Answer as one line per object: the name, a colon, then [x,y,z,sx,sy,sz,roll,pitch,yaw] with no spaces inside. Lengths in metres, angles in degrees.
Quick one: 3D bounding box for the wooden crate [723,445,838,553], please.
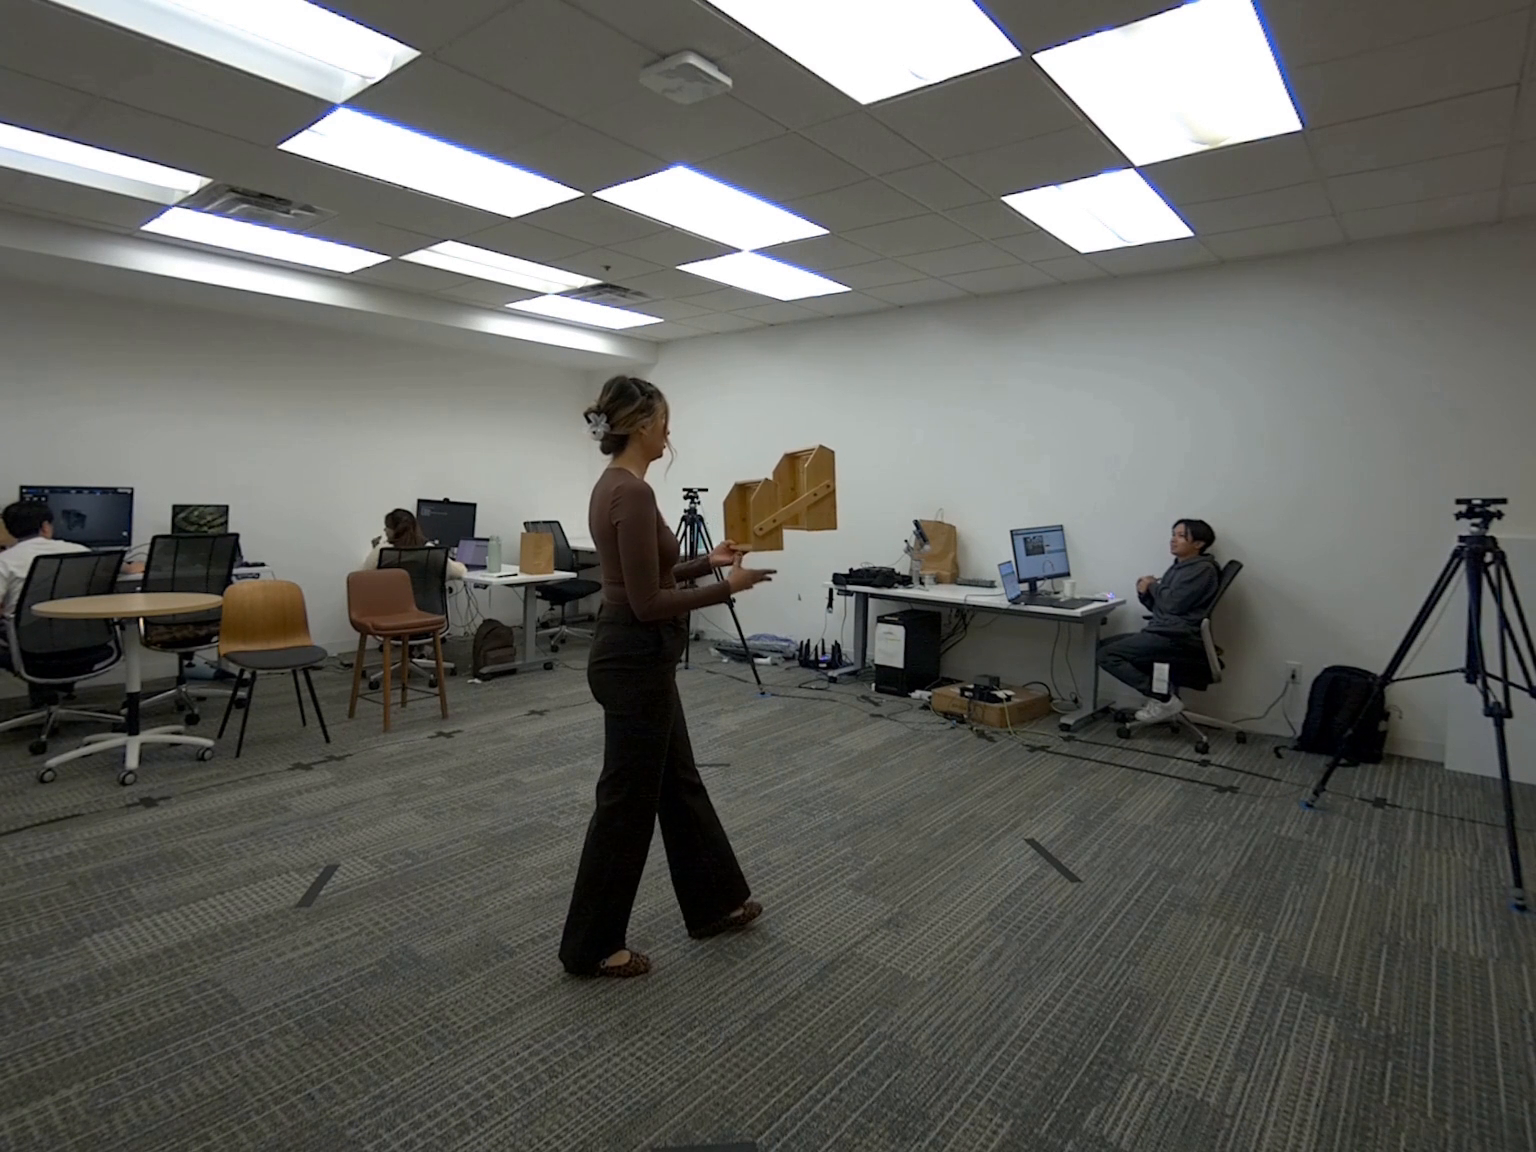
wooden crate: [0.009,-0.241,2.582,0.269,0.301,0.330,-3,4,-16]
